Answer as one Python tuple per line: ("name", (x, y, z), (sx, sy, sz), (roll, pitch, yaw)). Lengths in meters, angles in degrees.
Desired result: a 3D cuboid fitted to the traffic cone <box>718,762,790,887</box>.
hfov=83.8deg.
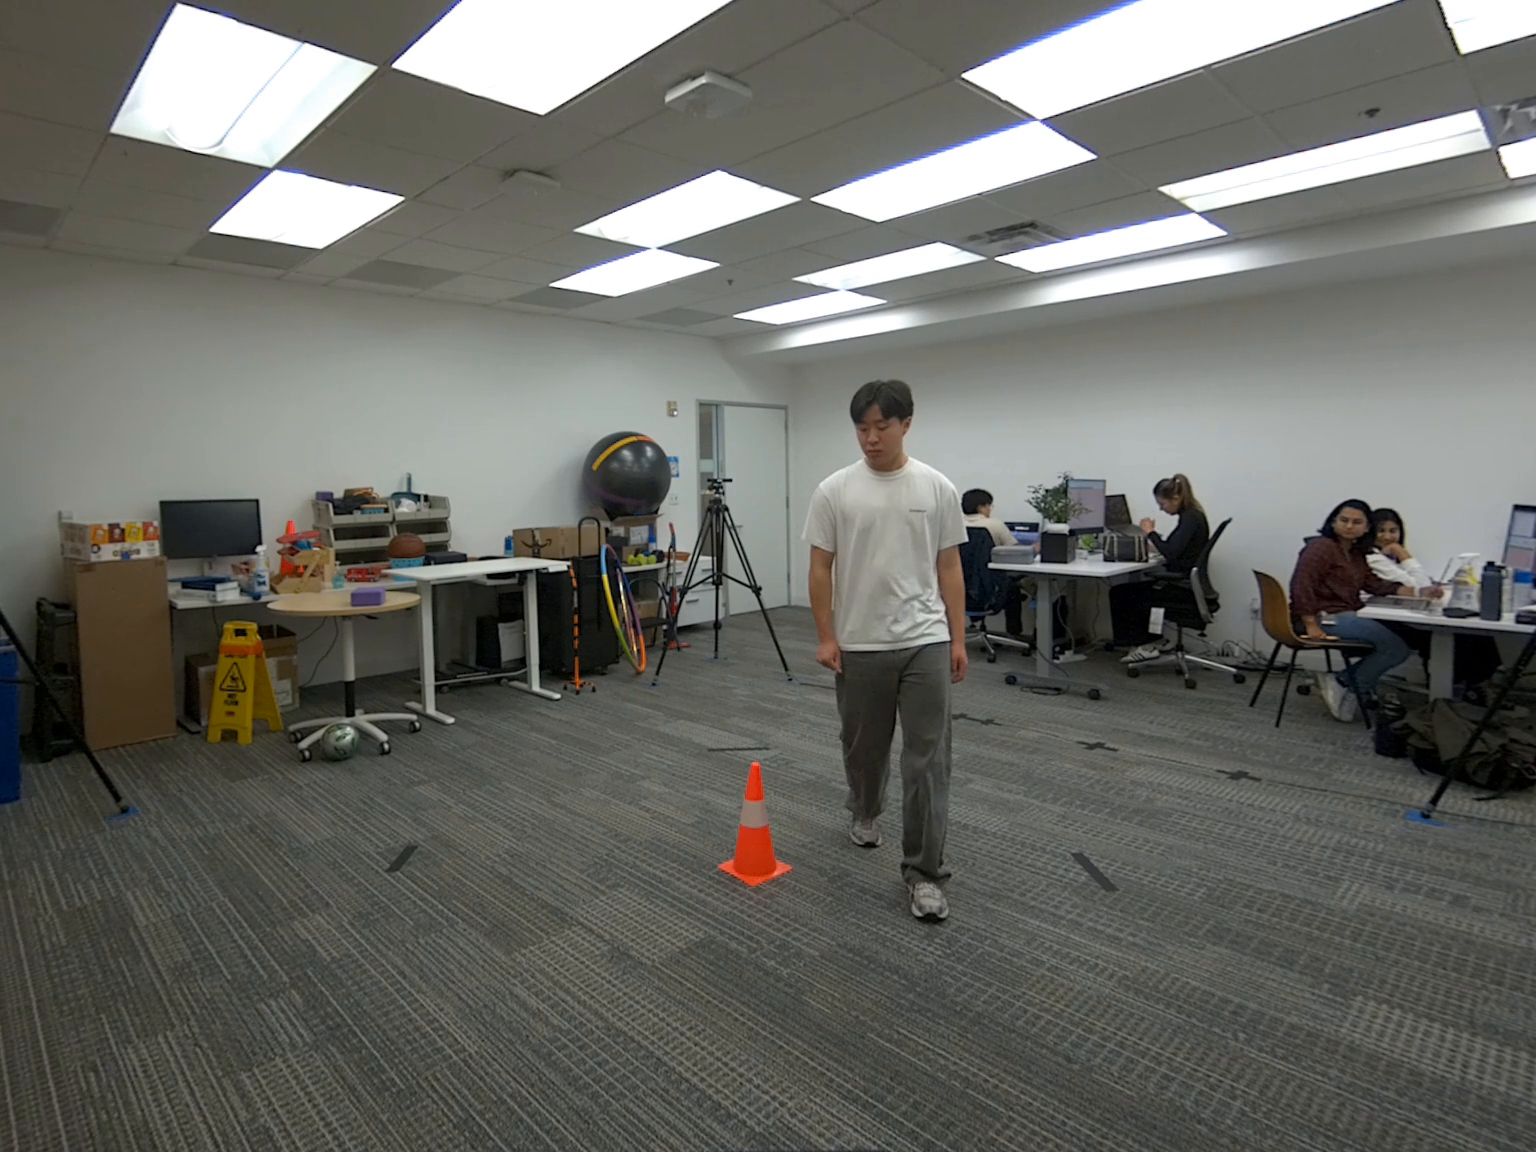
("traffic cone", (-0.045, 0.865, 3.070), (0.198, 0.383, 0.211), (-2, 4, -38))
